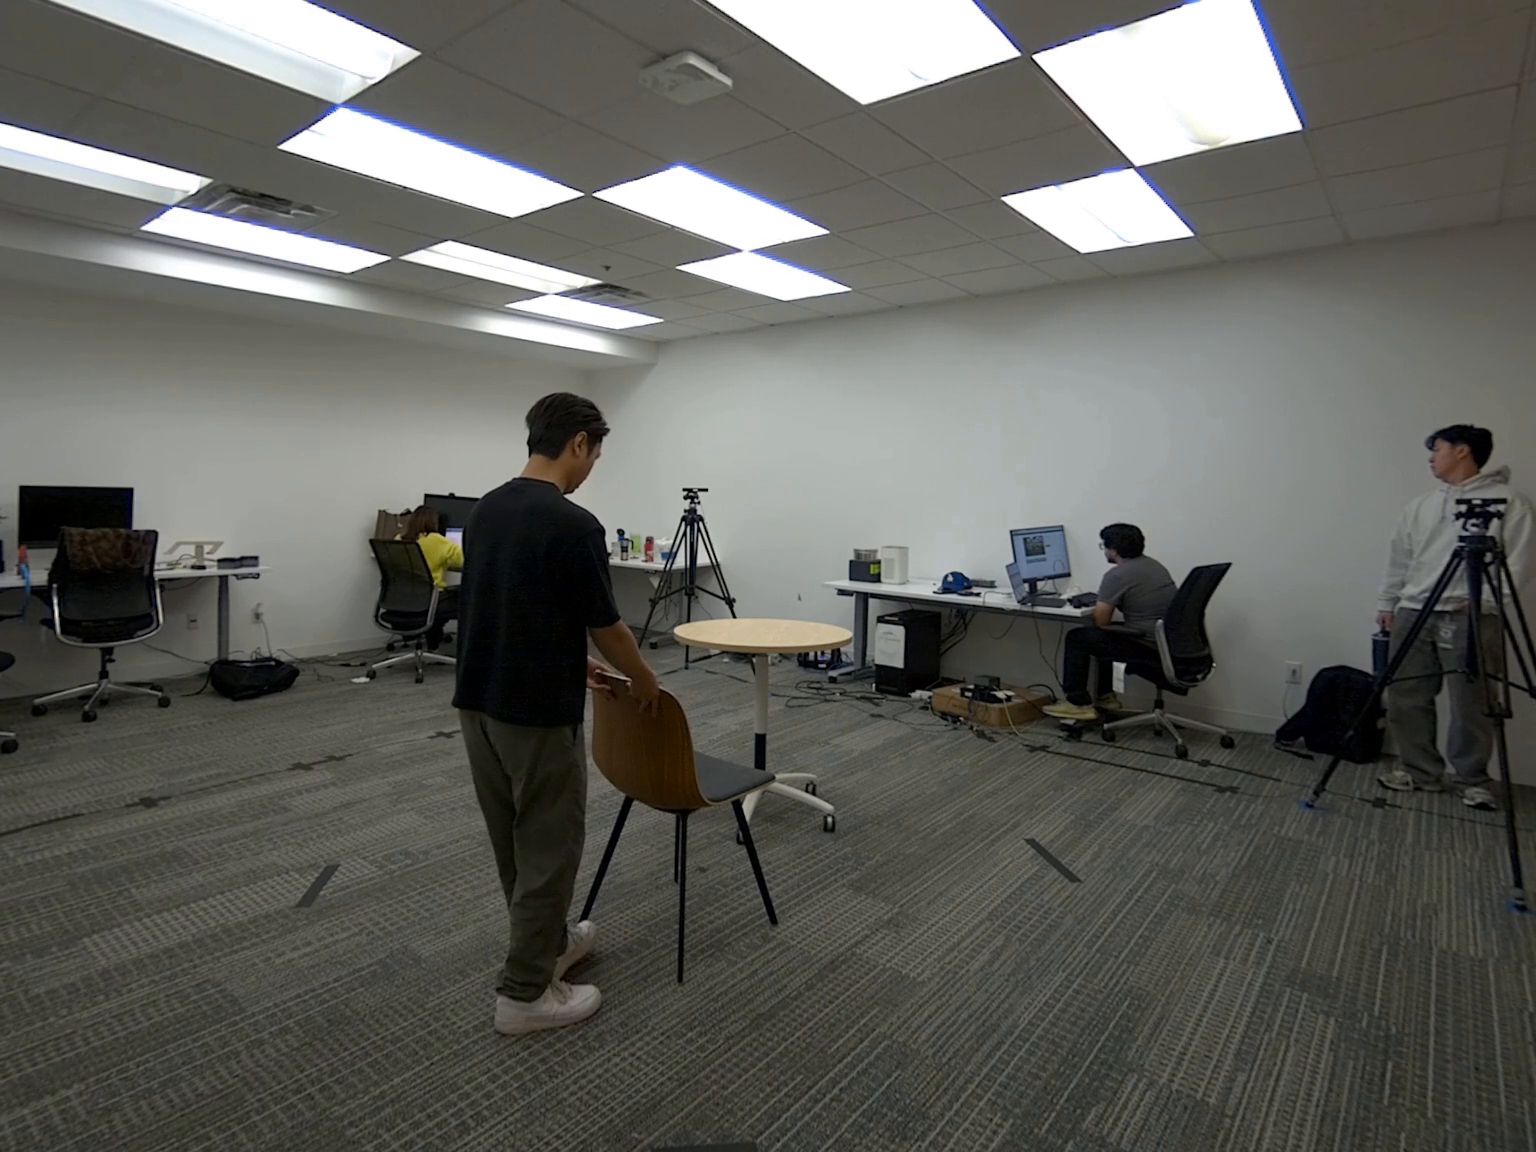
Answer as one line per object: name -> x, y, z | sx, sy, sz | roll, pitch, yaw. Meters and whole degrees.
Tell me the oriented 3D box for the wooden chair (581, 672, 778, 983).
wooden chair -> -0.279, 0.684, 2.680 | 0.494, 0.872, 0.509 | 4, 8, 39
